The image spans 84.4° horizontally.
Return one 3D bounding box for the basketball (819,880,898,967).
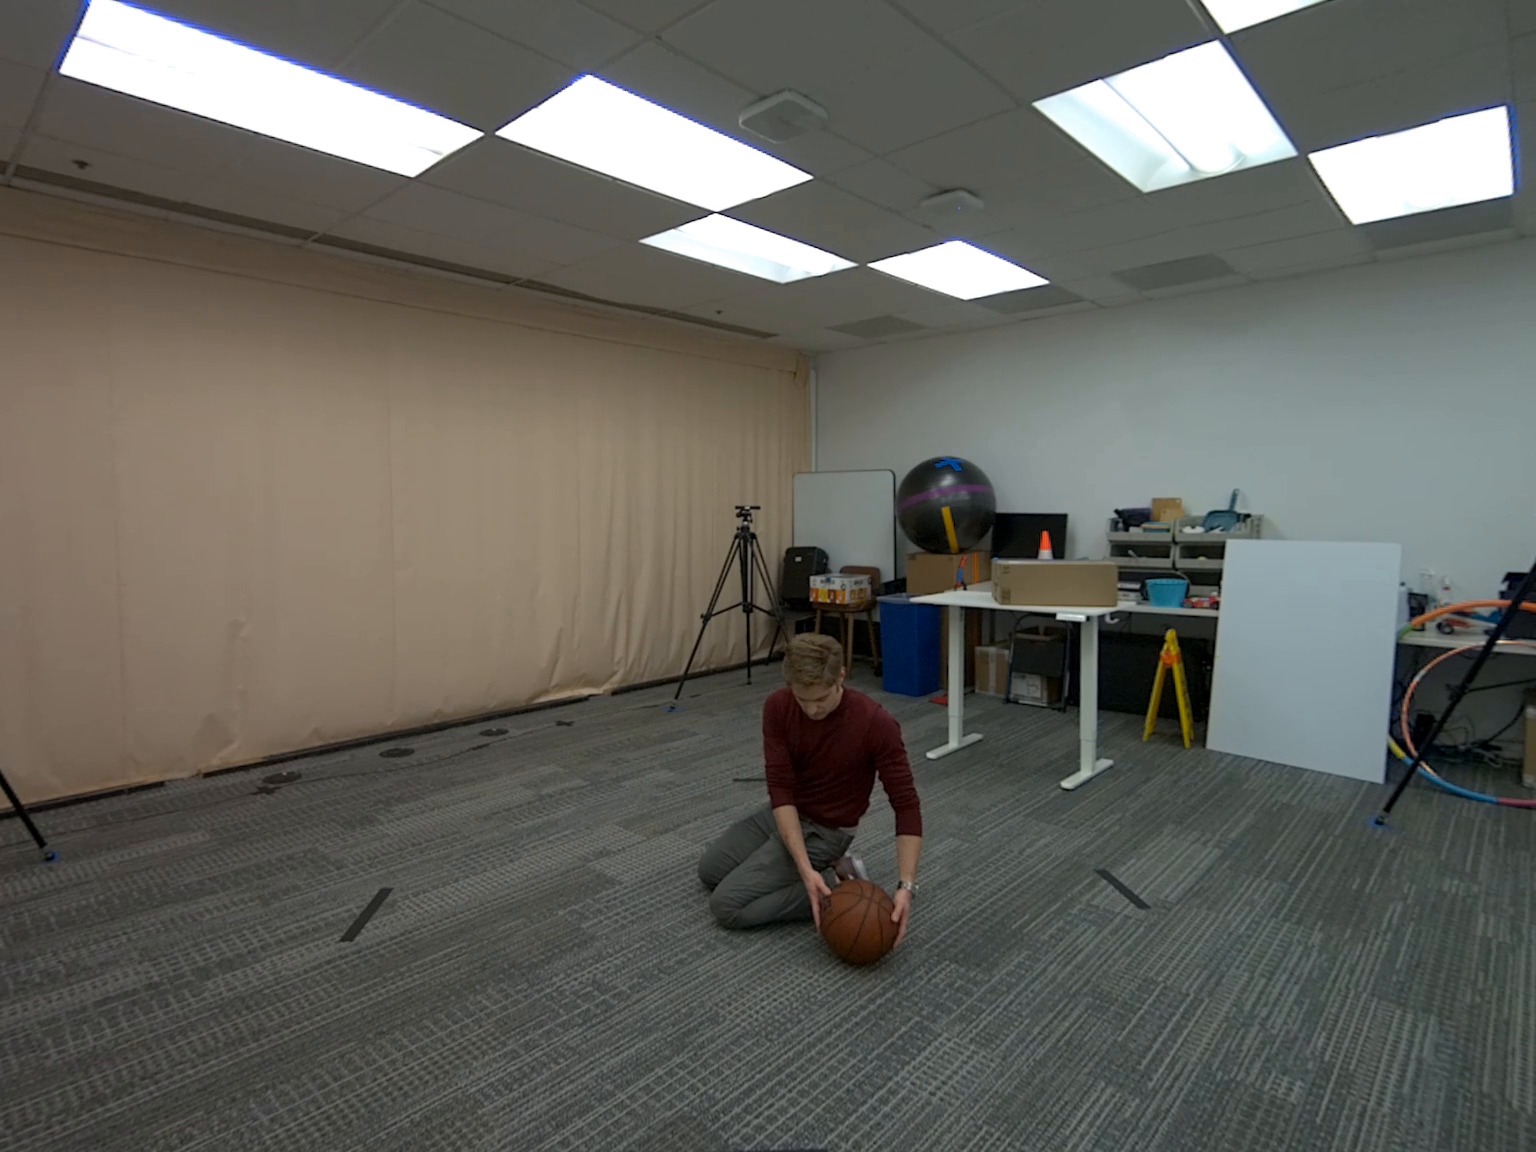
[{"bbox_3d":[0.279,1.054,2.583,0.236,0.235,0.237,0,4,-2],"label":"basketball"}]
